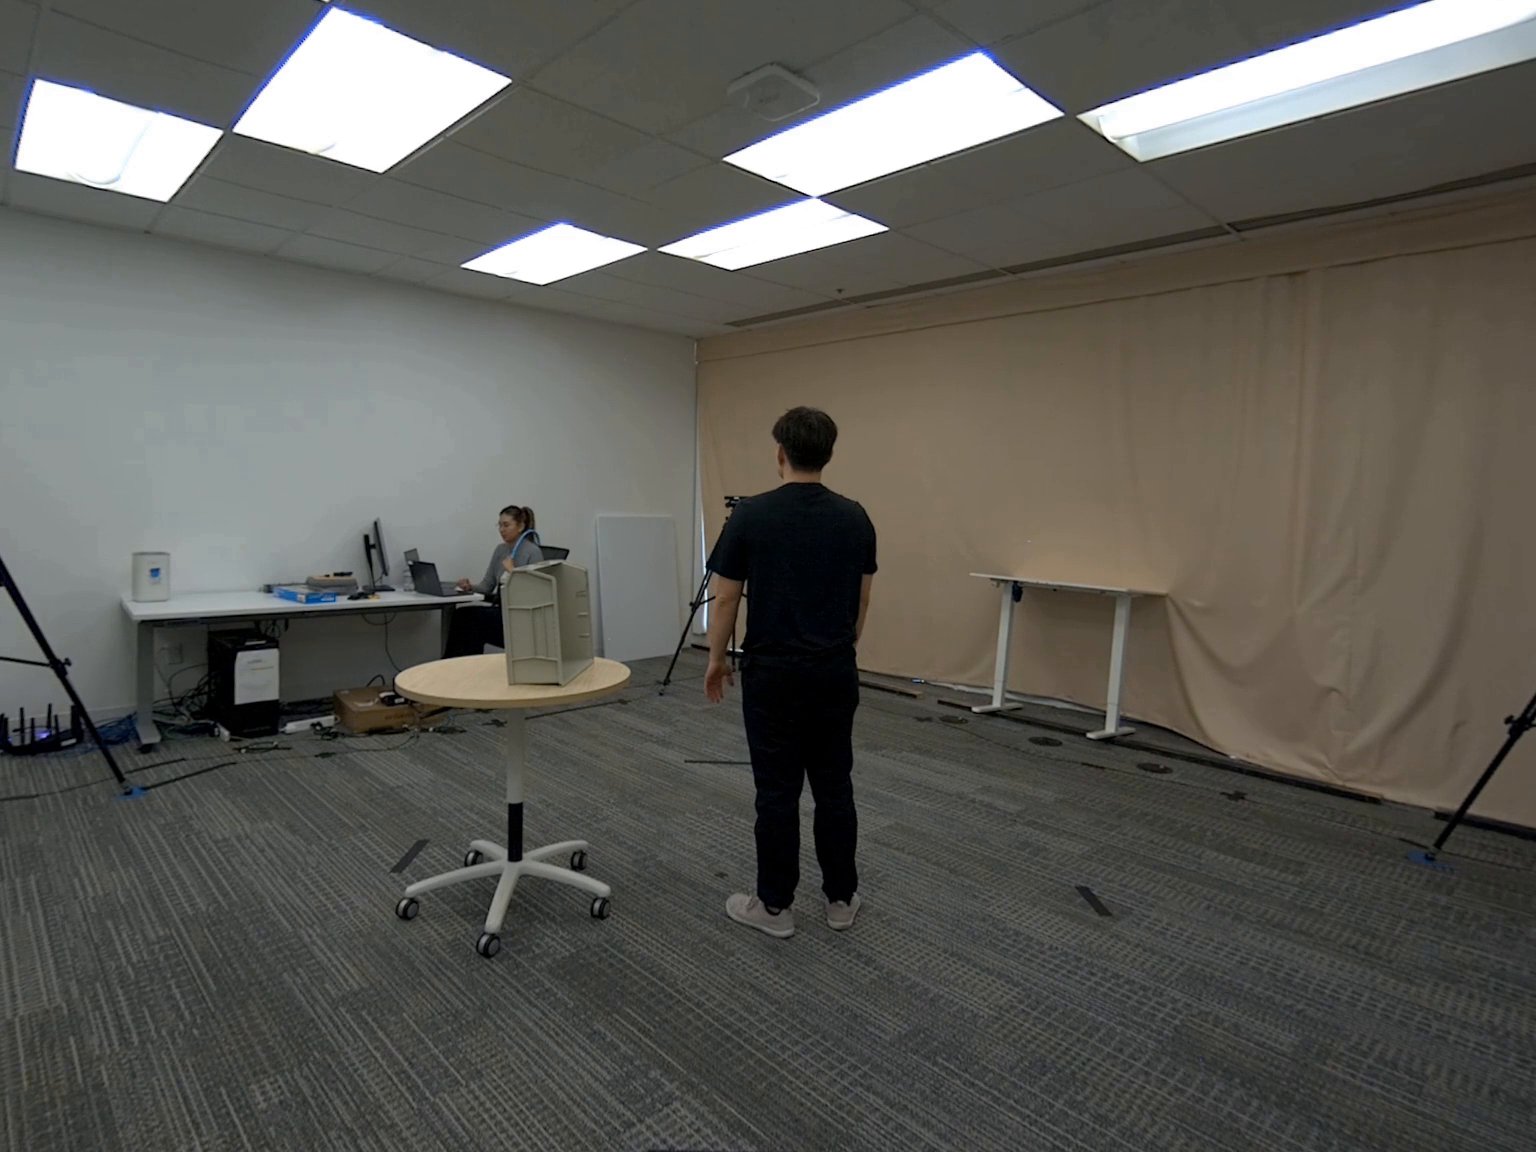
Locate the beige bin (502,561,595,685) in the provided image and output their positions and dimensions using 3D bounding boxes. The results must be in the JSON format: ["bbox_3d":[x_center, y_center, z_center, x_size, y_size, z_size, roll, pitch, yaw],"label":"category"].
[{"bbox_3d":[-0.730,0.146,2.844,0.189,0.376,0.422,-3,4,2],"label":"beige bin"}]
